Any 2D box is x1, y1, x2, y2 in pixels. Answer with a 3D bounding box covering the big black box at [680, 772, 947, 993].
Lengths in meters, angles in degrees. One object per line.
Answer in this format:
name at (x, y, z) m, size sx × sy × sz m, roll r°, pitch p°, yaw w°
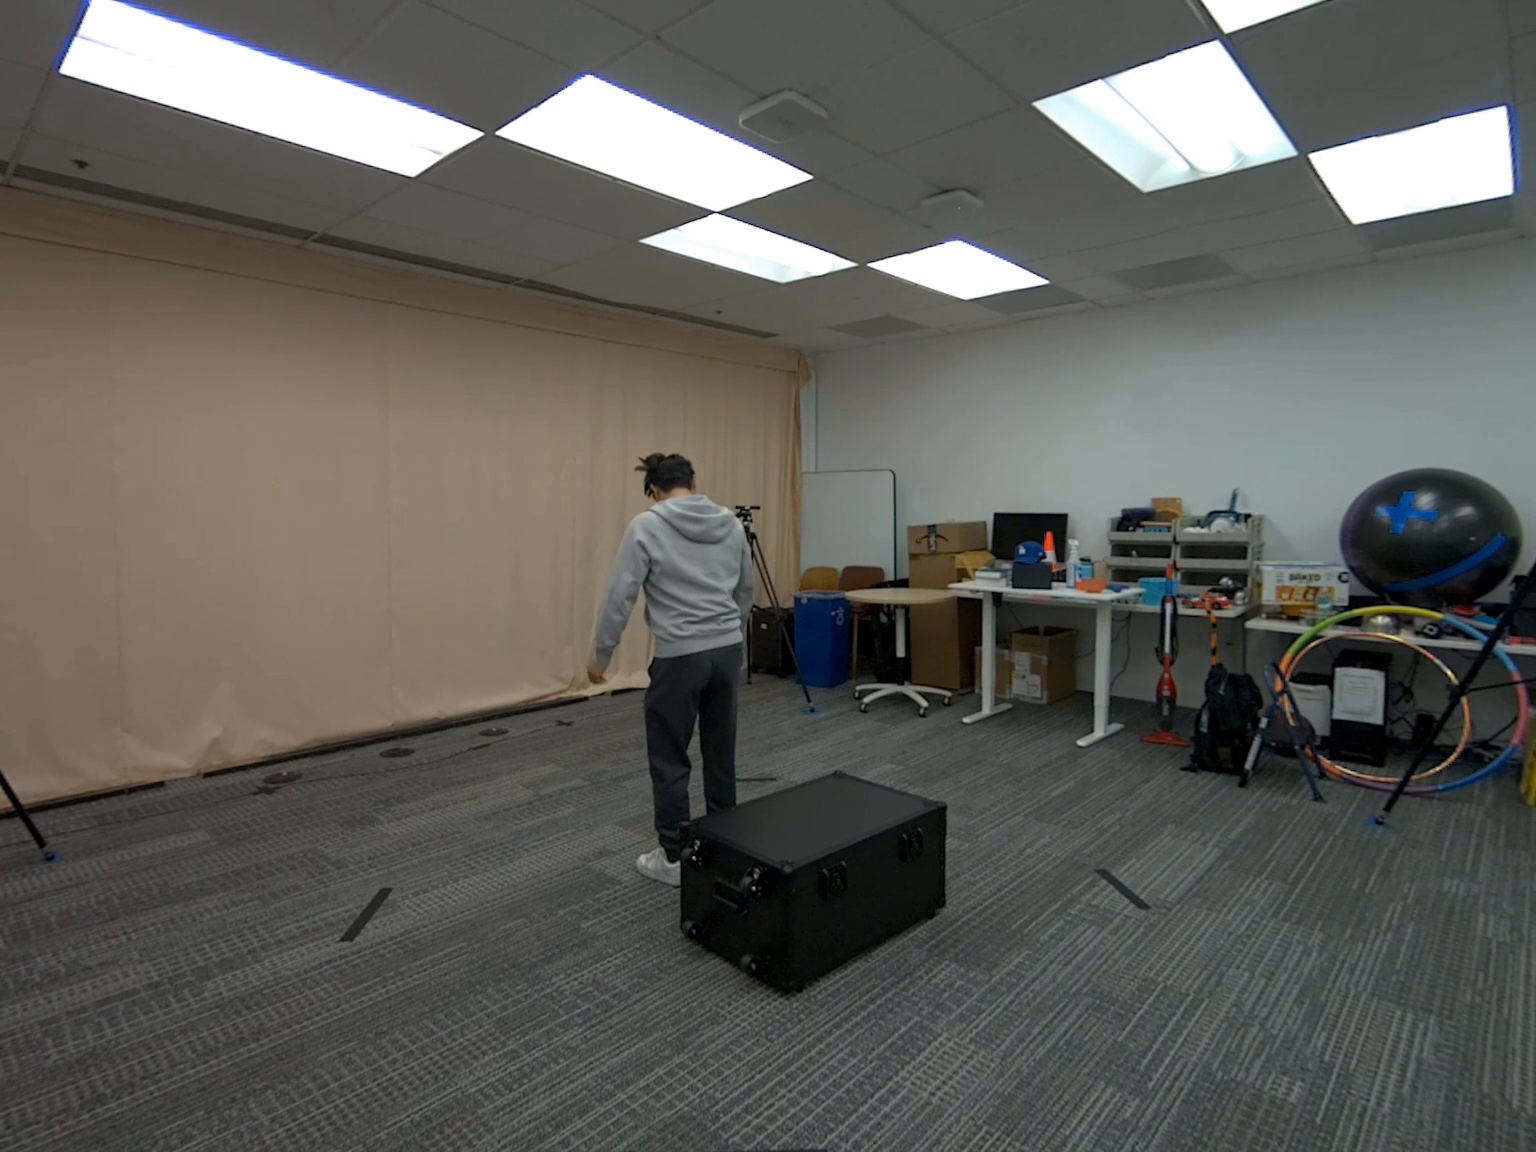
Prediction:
big black box at (0.147, 0.972, 2.766) m, size 0.835 × 0.395 × 0.538 m, roll -4°, pitch 5°, yaw -43°
